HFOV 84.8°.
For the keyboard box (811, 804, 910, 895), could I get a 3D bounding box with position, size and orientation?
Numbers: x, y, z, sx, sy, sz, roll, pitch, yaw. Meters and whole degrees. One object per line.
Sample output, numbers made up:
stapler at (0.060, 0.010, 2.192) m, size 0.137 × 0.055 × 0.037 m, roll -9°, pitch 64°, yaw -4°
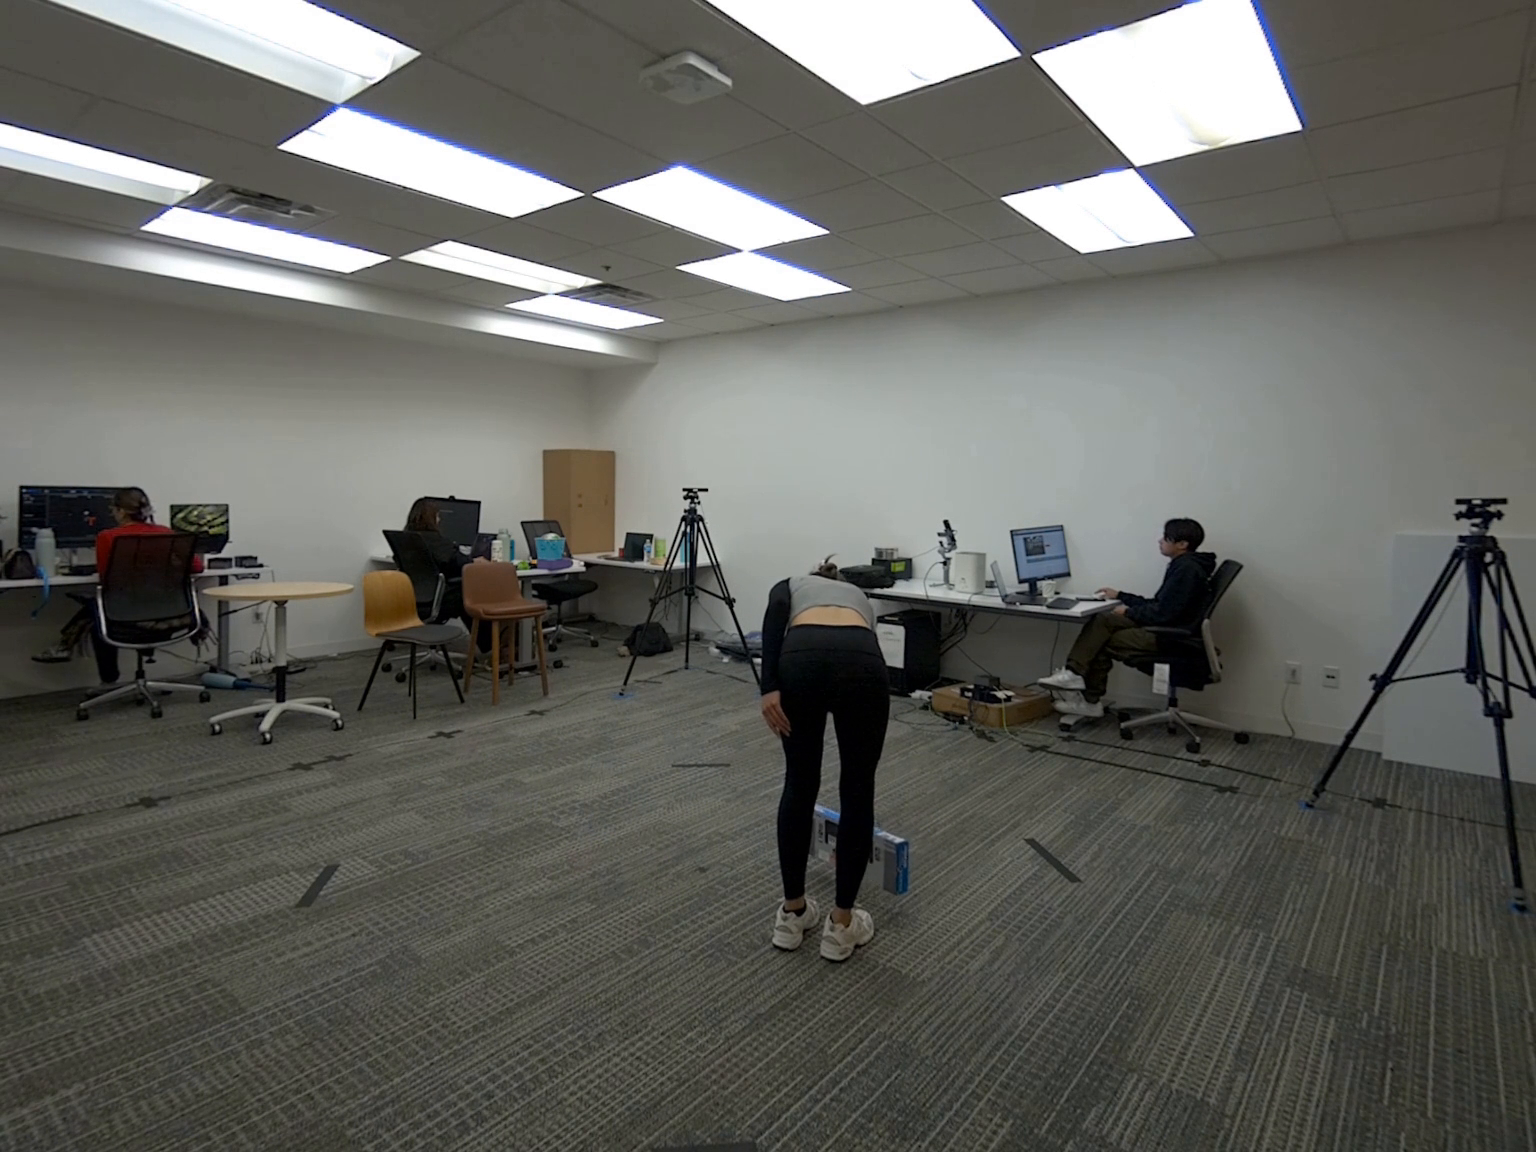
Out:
keyboard box at (0.296, 0.943, 2.962) m, size 0.057 × 0.175 × 0.451 m, roll -1°, pitch 4°, yaw -40°
